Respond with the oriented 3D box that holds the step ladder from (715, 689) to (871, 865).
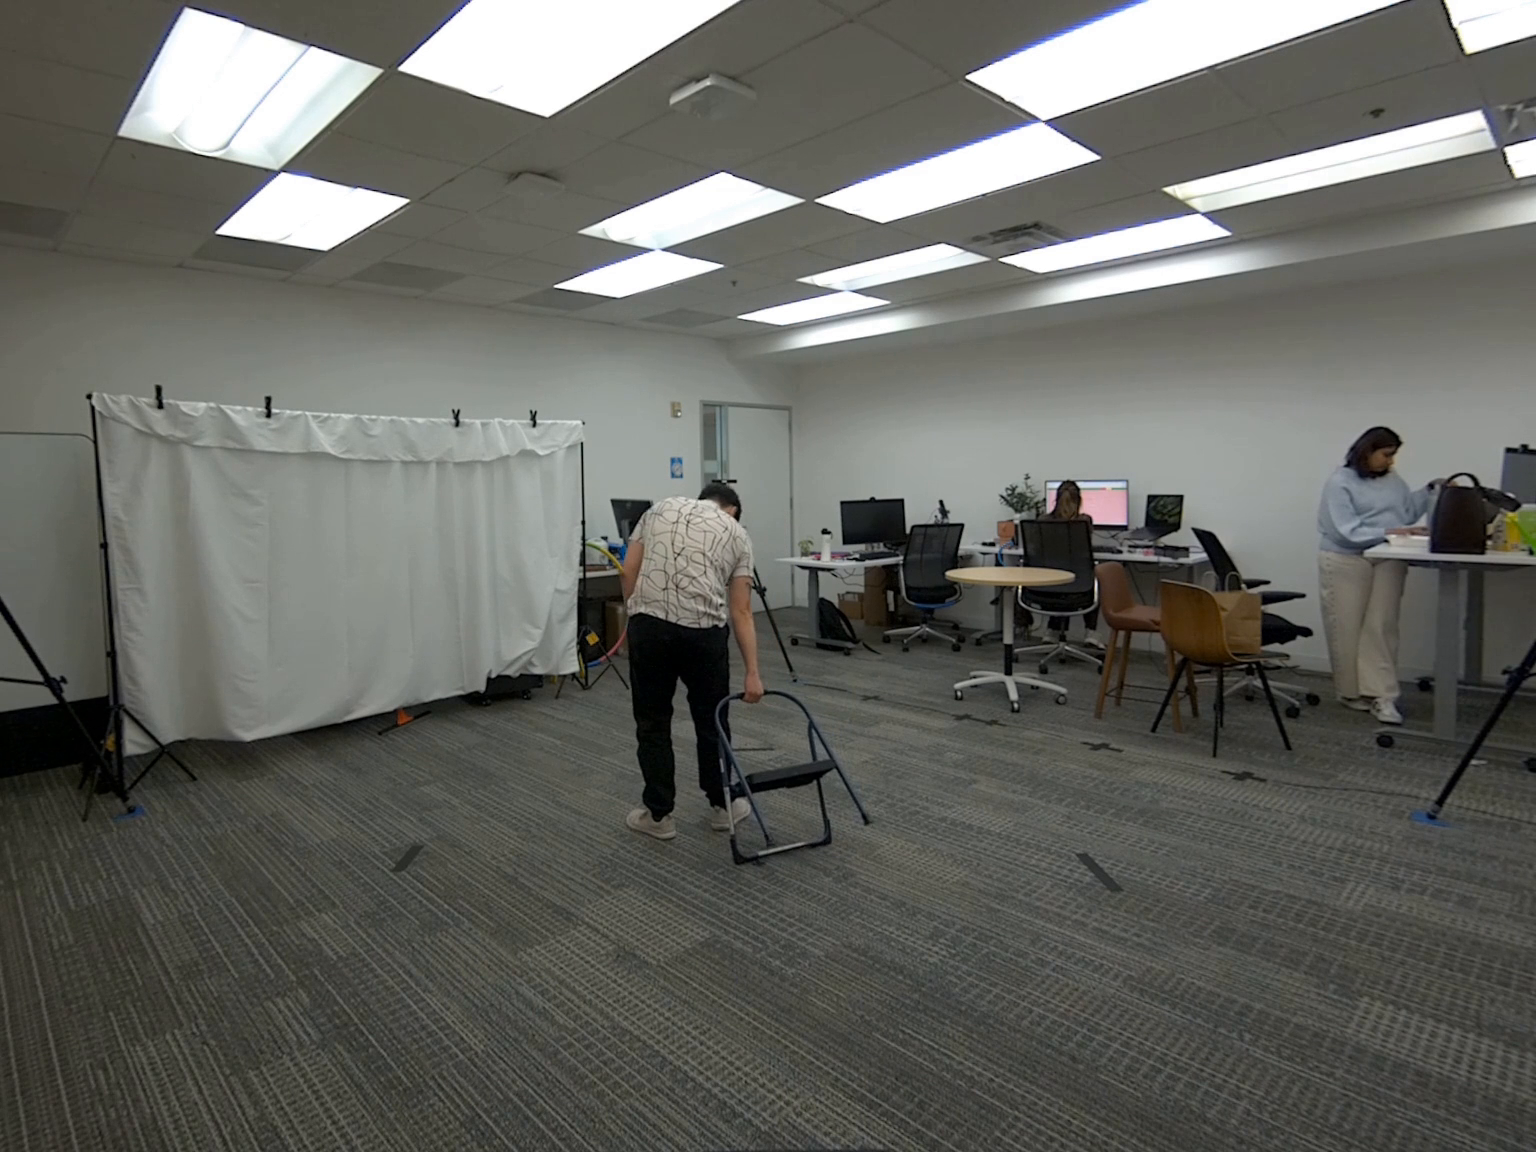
[{"bbox_3d":[0.049,0.697,3.196,0.421,0.623,0.348,-2,-29,-27],"label":"step ladder"}]
